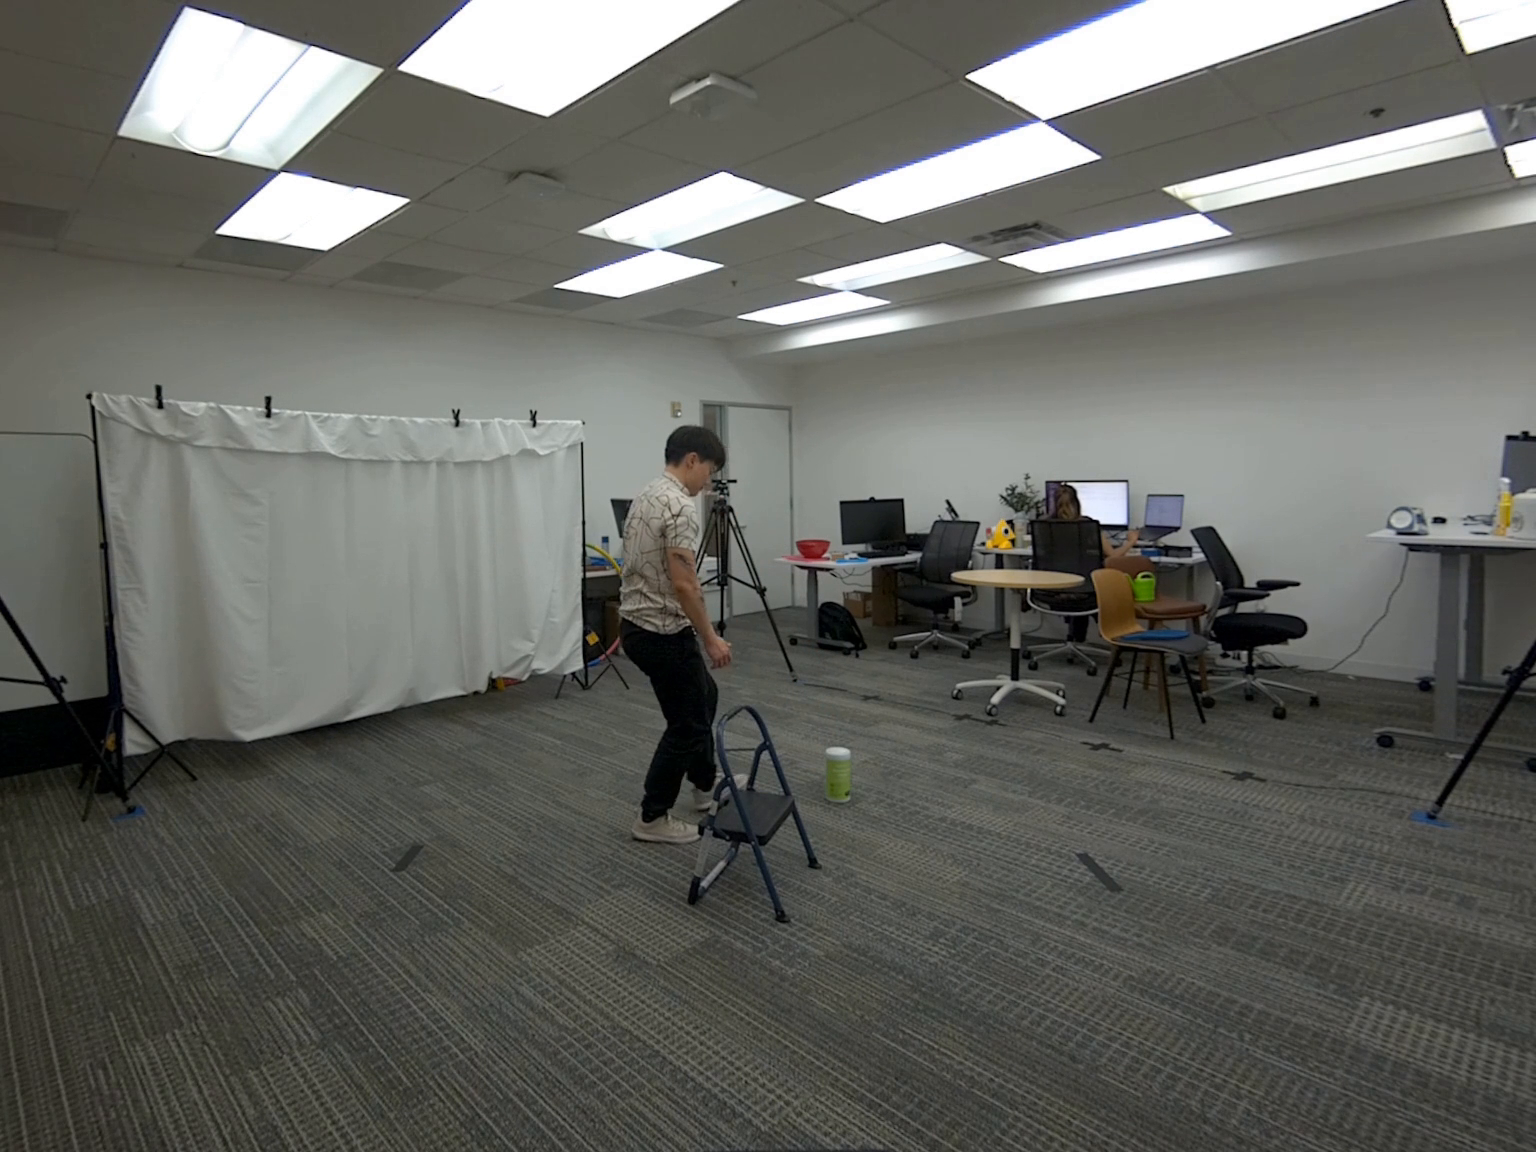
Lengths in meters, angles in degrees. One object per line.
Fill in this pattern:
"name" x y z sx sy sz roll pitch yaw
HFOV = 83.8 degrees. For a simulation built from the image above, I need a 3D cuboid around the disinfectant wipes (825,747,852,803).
"disinfectant wipes" 0.311 0.865 3.729 0.118 0.217 0.118 -2 4 -2
